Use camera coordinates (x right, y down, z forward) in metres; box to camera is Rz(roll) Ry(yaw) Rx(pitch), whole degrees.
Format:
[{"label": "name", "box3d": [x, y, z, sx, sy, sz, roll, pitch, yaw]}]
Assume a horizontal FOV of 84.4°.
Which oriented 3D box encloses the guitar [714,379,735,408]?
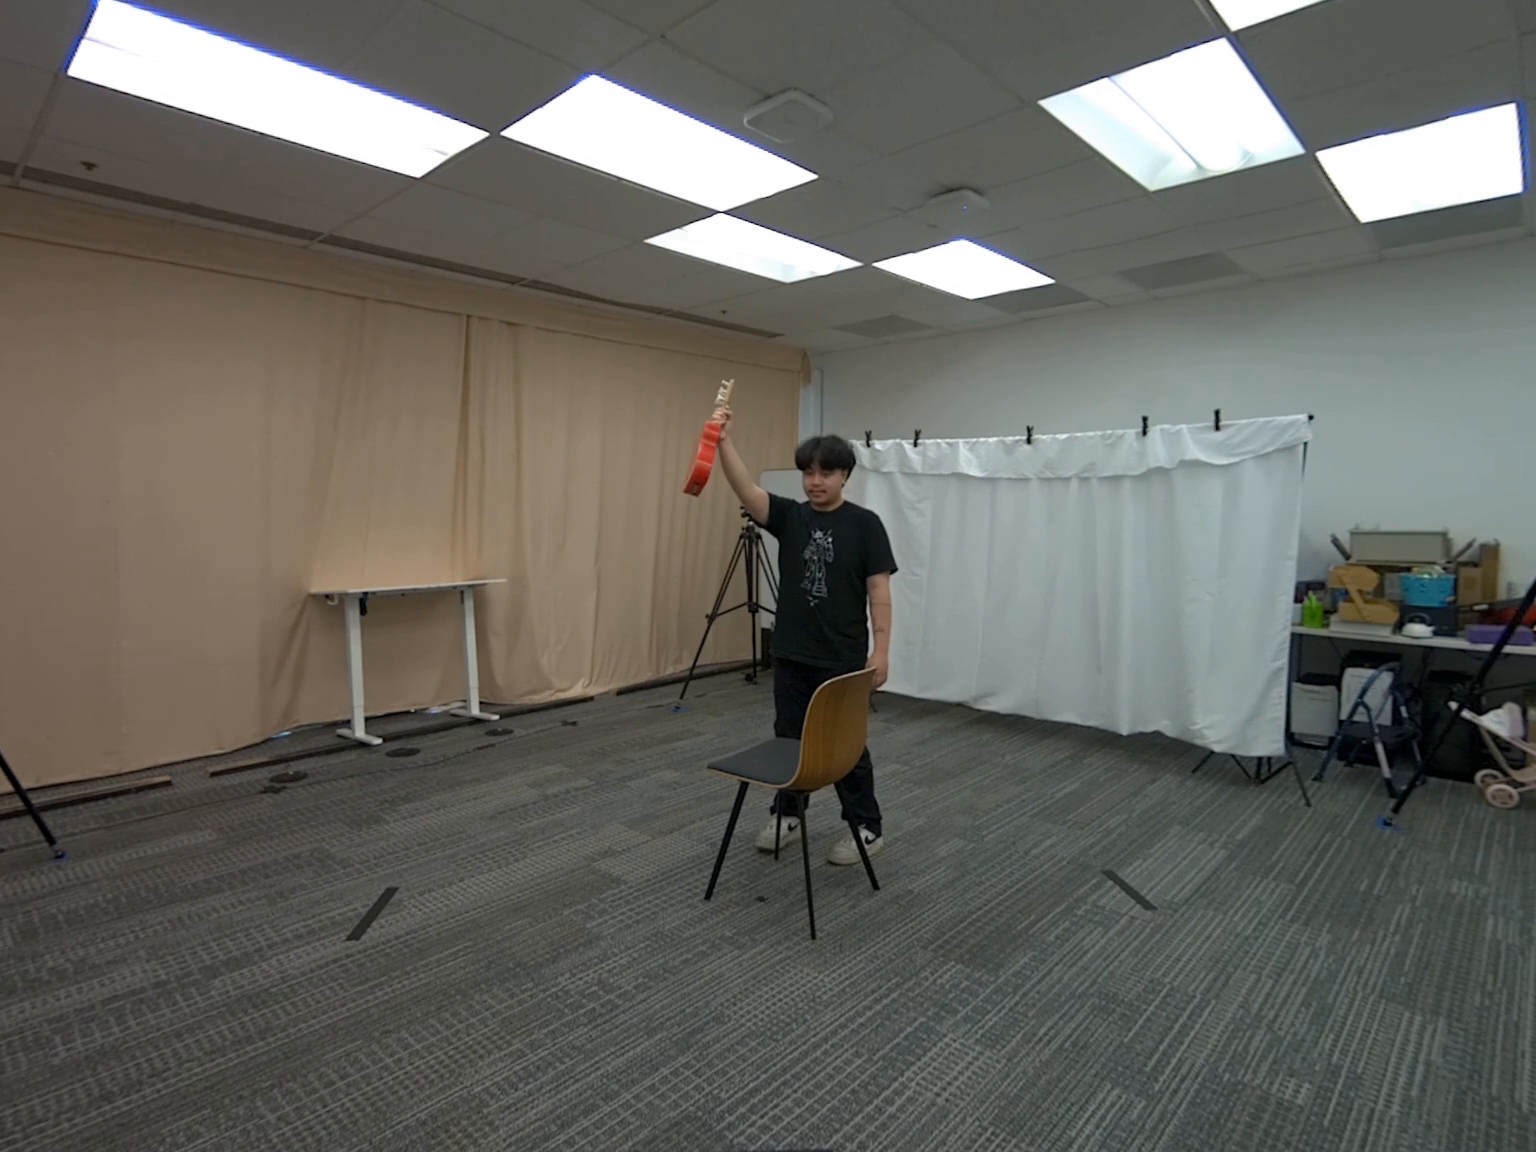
[{"label": "guitar", "box3d": [-0.215, -0.509, 3.098, 0.070, 0.503, 0.193, 18, -36, -9]}]
